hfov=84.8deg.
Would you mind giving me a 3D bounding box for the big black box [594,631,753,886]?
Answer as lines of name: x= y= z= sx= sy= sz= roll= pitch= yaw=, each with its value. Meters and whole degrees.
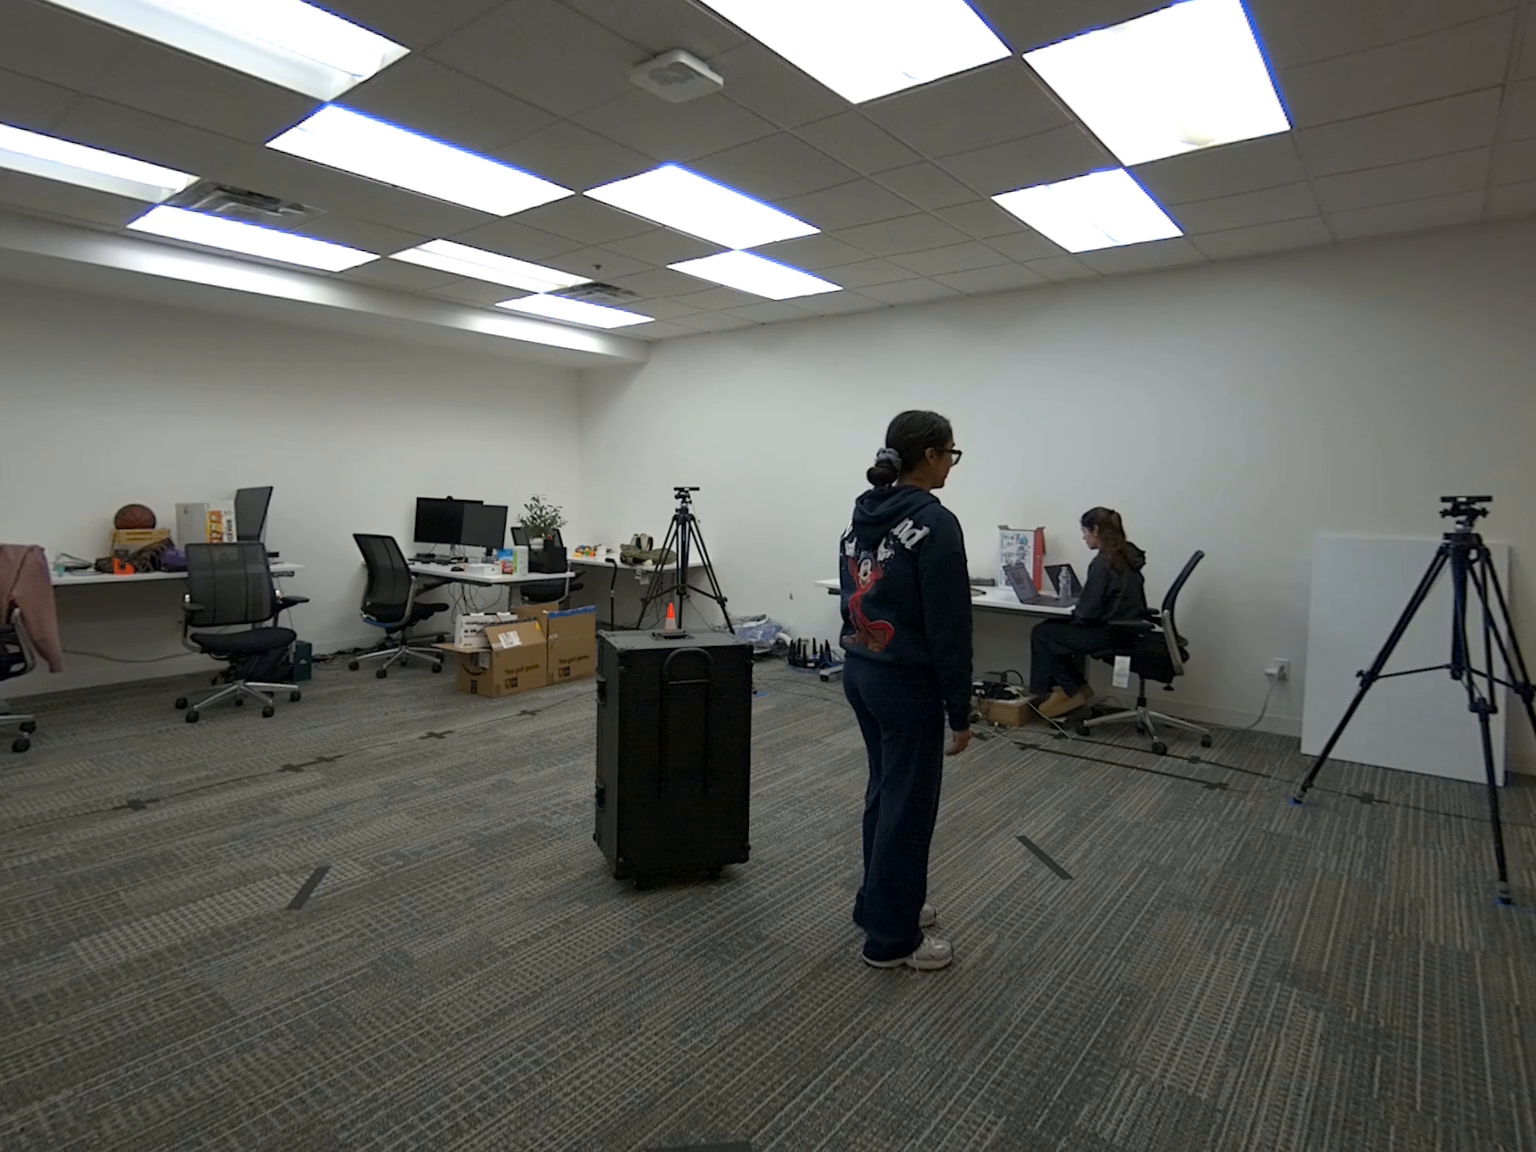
big black box: x=-0.353 y=0.645 z=3.065 sx=0.510 sy=0.858 sz=0.406 roll=0 pitch=5 yaw=-21
